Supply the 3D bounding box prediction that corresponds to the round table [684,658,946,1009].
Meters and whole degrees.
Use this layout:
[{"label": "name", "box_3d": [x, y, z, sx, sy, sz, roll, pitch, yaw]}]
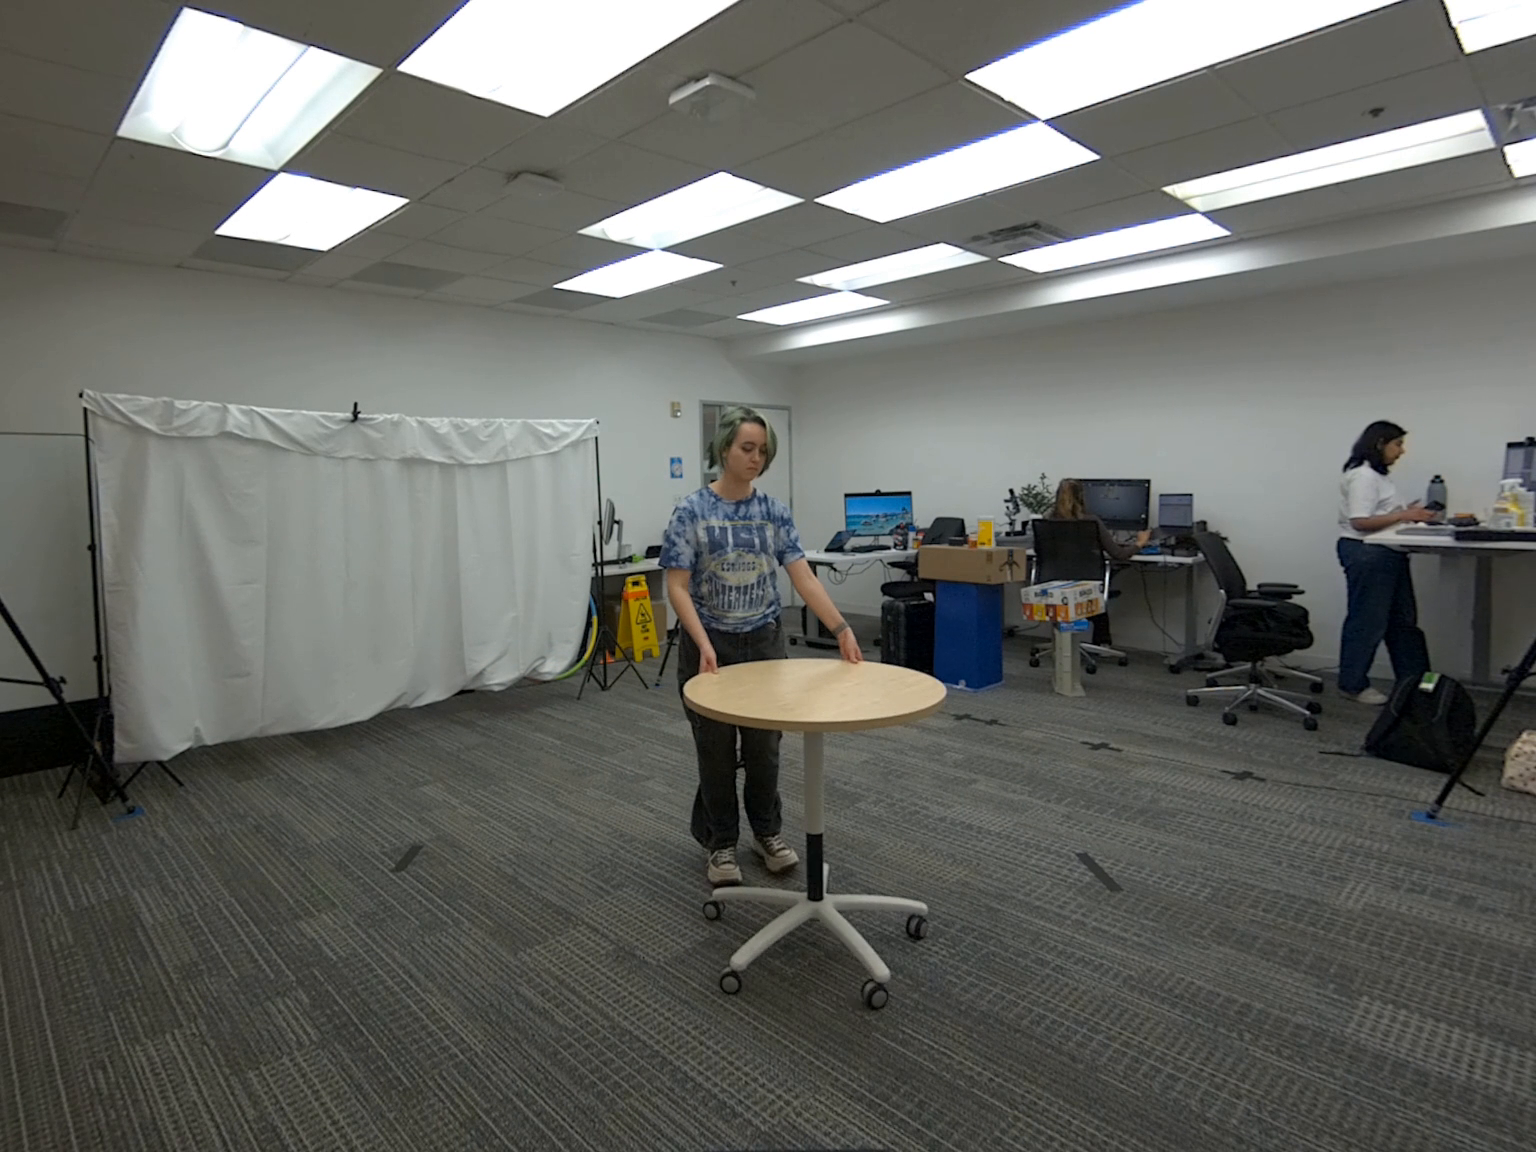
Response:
[{"label": "round table", "box_3d": [0.142, 0.717, 2.548, 0.763, 0.791, 0.768, -1, 5, -2]}]
